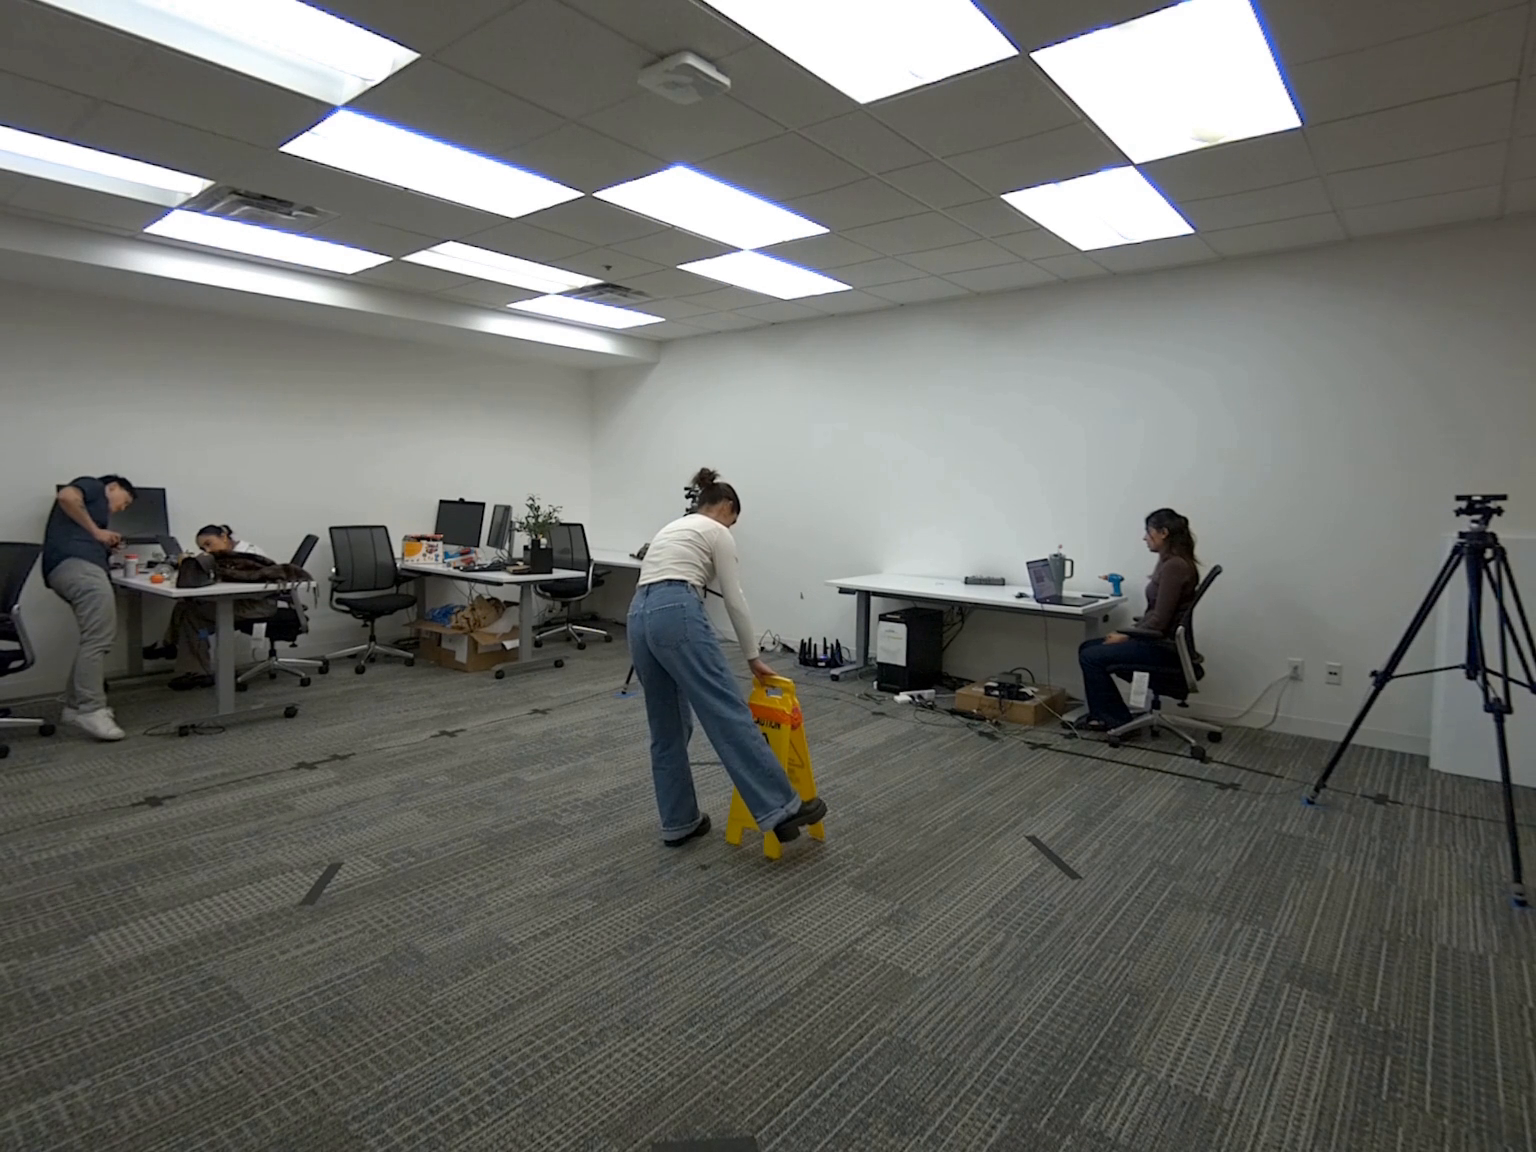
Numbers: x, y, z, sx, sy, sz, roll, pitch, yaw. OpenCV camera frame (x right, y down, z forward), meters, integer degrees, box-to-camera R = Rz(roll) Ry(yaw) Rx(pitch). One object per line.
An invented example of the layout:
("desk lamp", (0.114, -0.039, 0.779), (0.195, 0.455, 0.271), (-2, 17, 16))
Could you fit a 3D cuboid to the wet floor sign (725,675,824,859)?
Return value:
("wet floor sign", (0.011, 0.717, 3.360), (0.291, 0.645, 0.281), (0, 1, 42))
